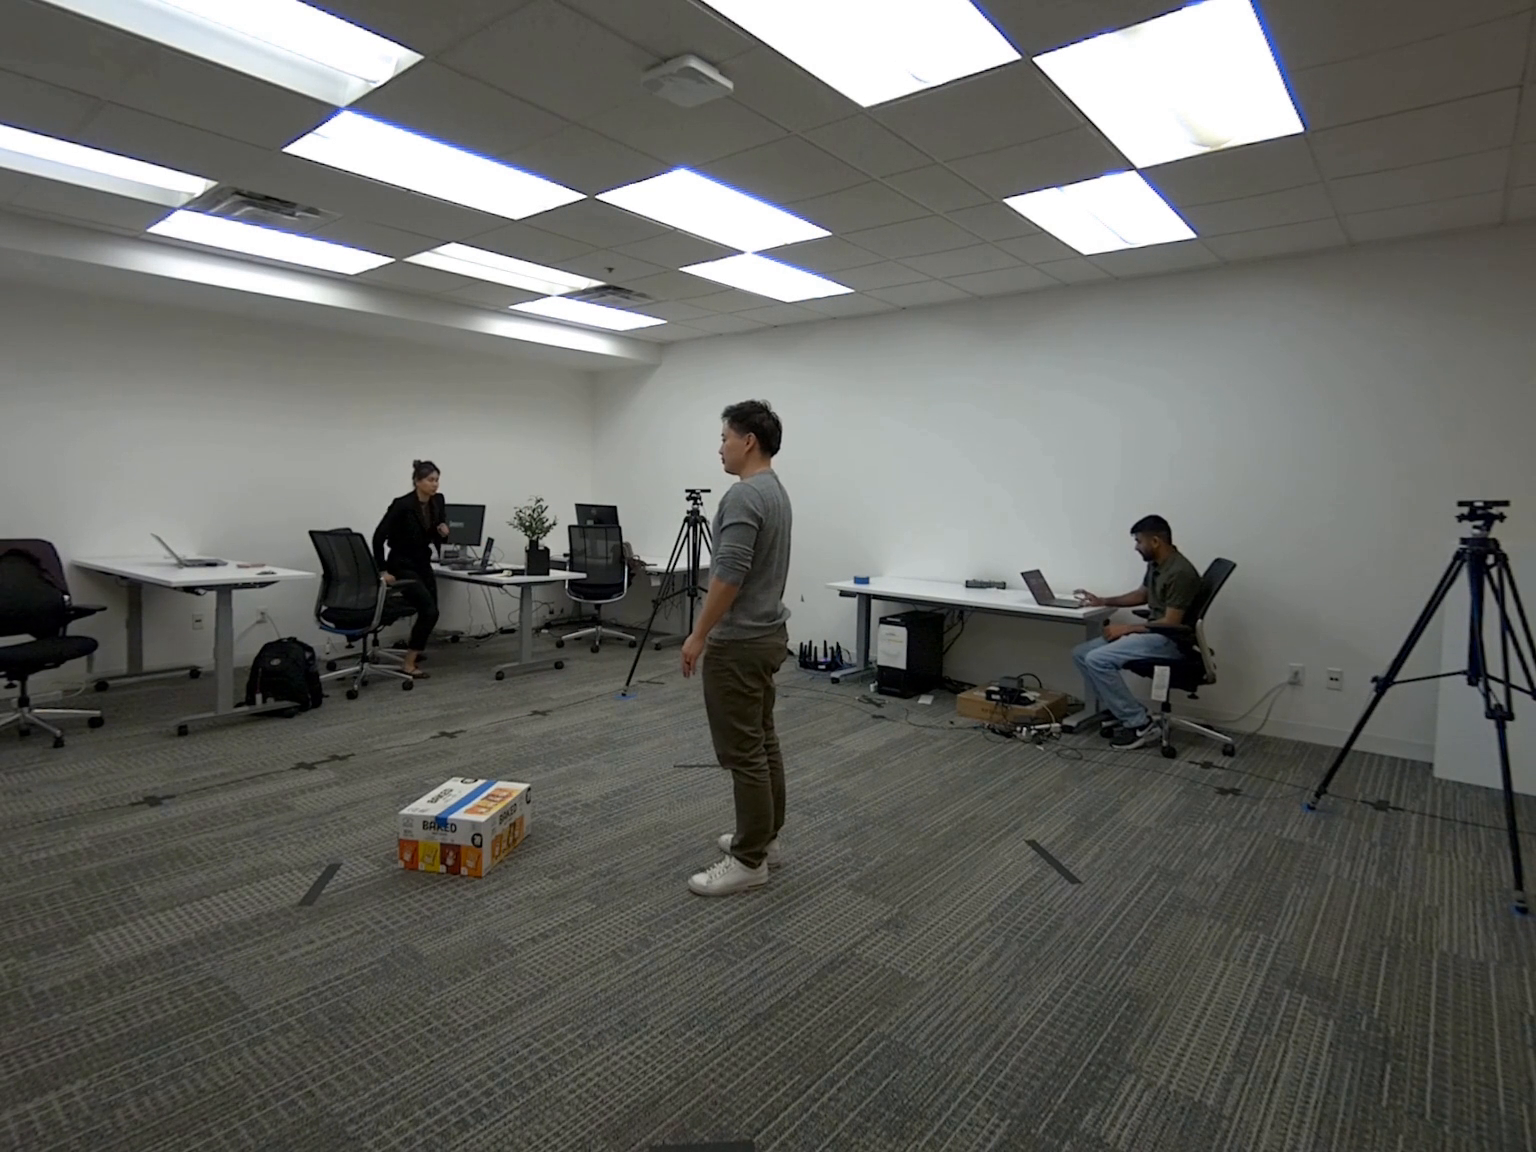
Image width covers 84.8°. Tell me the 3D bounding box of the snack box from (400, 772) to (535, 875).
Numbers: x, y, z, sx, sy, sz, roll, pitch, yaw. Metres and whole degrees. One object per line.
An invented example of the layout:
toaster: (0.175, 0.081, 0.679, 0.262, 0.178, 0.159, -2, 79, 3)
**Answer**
snack box: (-1.147, 0.938, 3.240, 0.344, 0.205, 0.402, 2, 5, 10)
